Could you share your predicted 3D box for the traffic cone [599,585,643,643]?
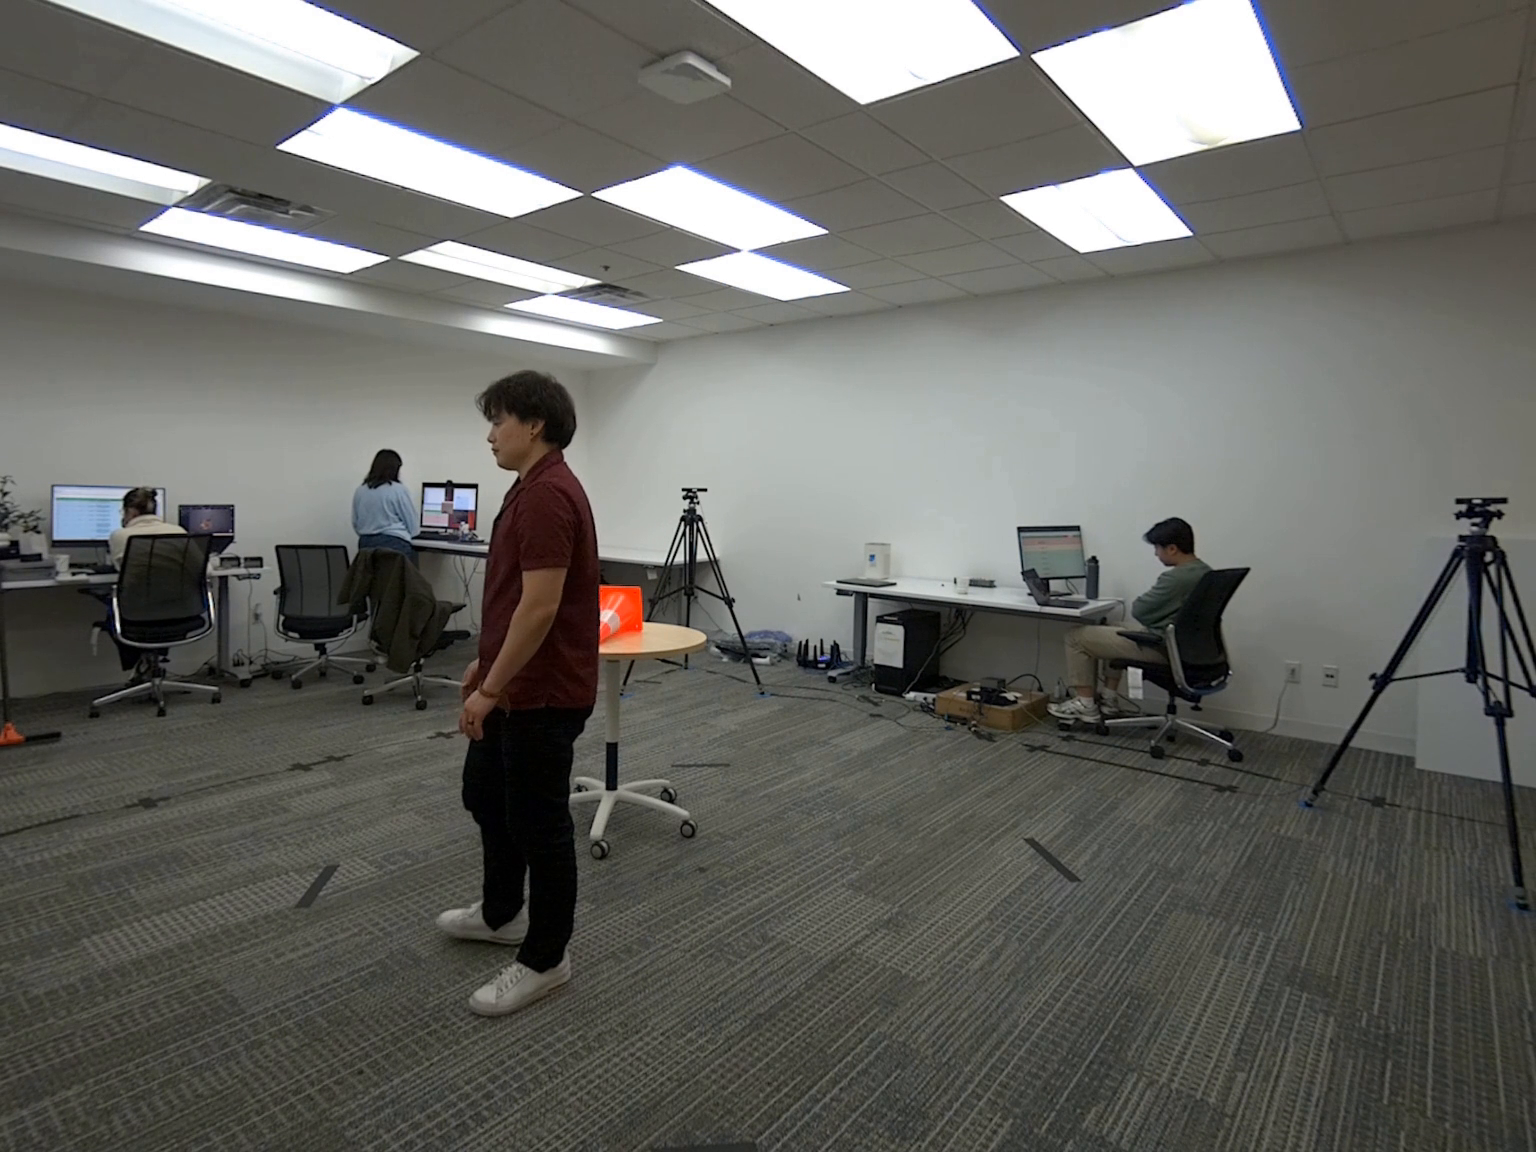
[{"bbox_3d":[-0.665,0.184,3.419,0.204,0.202,0.387,-5,15,5],"label":"traffic cone"}]
